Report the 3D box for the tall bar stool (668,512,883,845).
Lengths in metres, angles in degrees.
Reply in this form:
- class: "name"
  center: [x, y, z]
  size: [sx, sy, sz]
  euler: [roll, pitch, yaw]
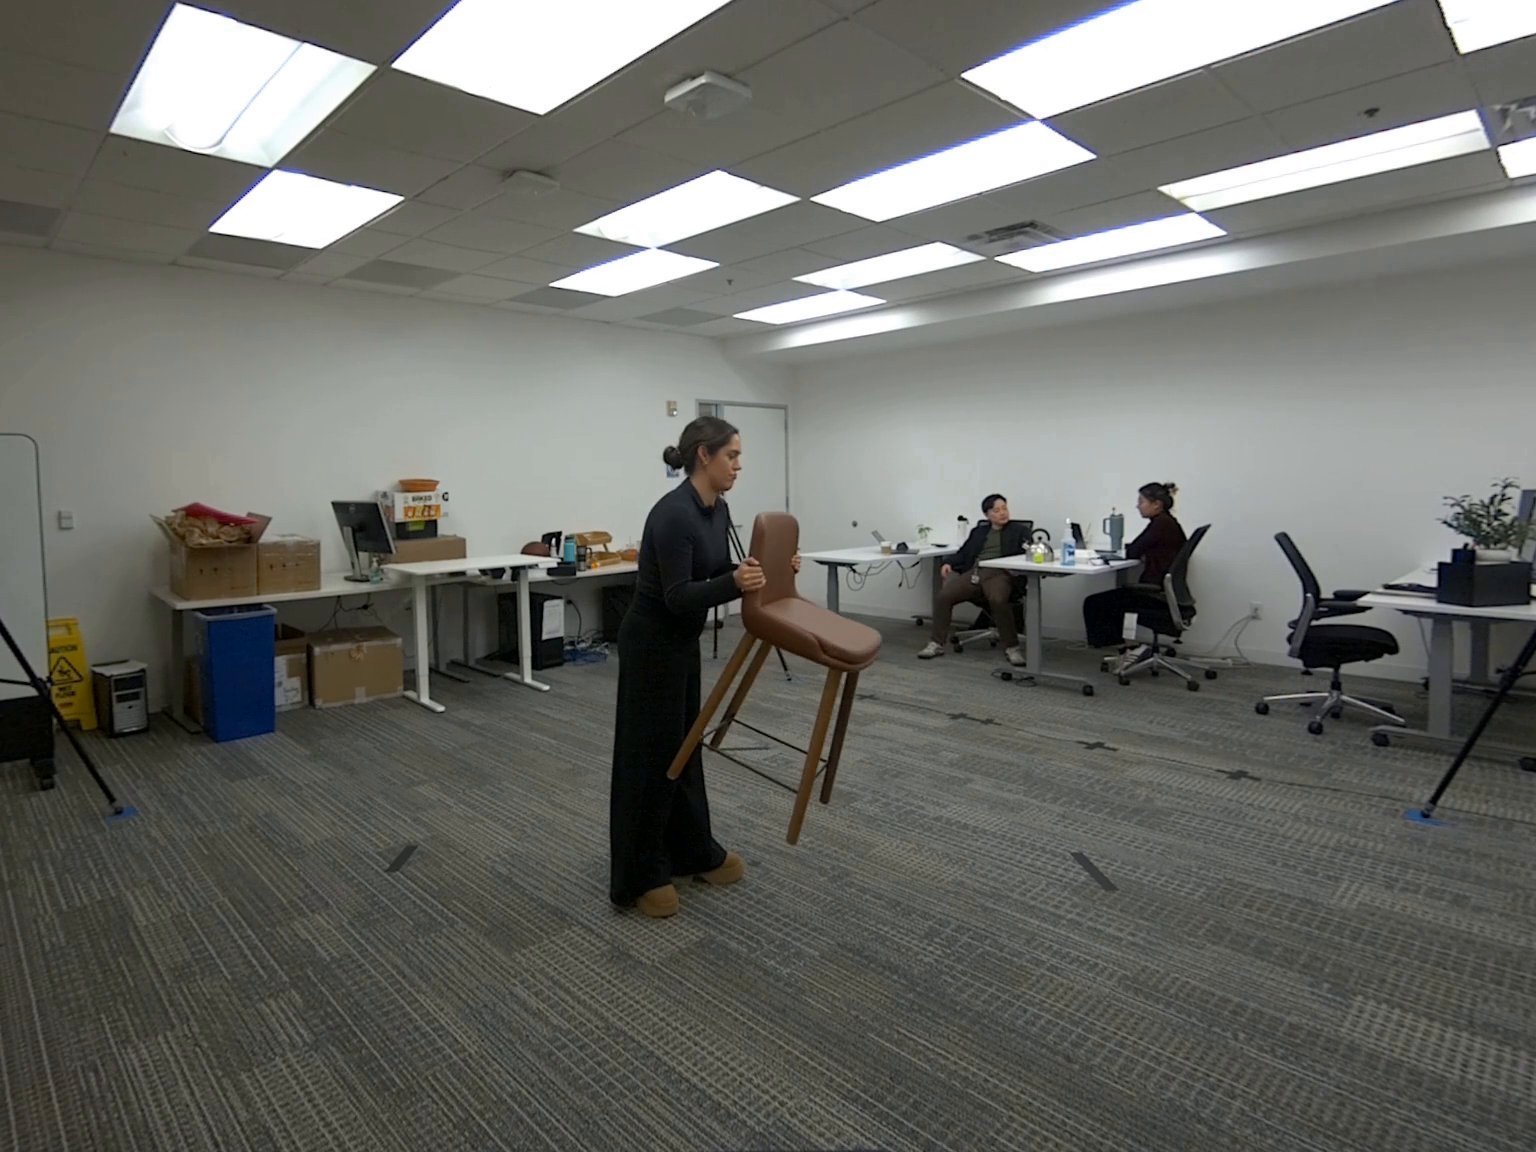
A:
- class: "tall bar stool"
  center: [0.080, 0.298, 2.702]
  size: [0.479, 0.886, 0.448]
  euler: [20, 8, 19]
